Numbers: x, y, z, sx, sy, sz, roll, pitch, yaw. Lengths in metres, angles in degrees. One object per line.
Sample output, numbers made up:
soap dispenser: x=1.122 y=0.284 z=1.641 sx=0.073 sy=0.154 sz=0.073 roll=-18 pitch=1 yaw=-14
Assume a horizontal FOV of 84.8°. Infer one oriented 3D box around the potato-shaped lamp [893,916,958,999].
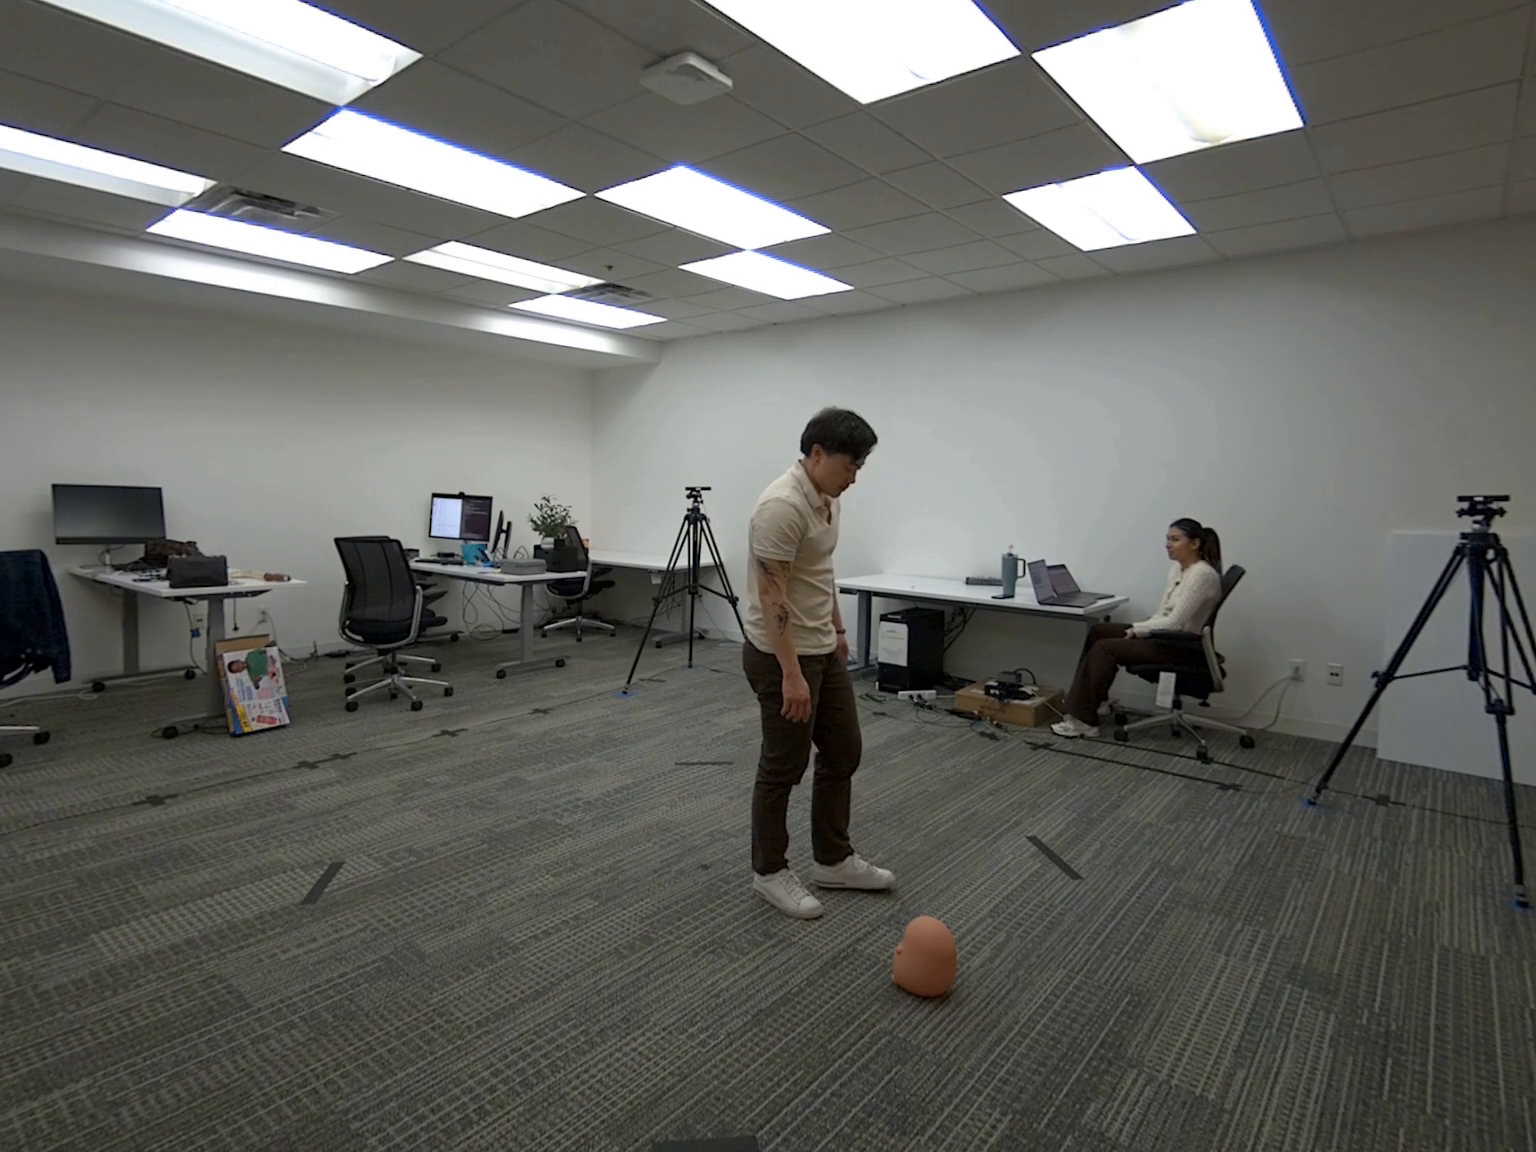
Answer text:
potato-shaped lamp: x=0.434 y=1.048 z=2.386 sx=0.177 sy=0.198 sz=0.159 roll=7 pitch=2 yaw=42
